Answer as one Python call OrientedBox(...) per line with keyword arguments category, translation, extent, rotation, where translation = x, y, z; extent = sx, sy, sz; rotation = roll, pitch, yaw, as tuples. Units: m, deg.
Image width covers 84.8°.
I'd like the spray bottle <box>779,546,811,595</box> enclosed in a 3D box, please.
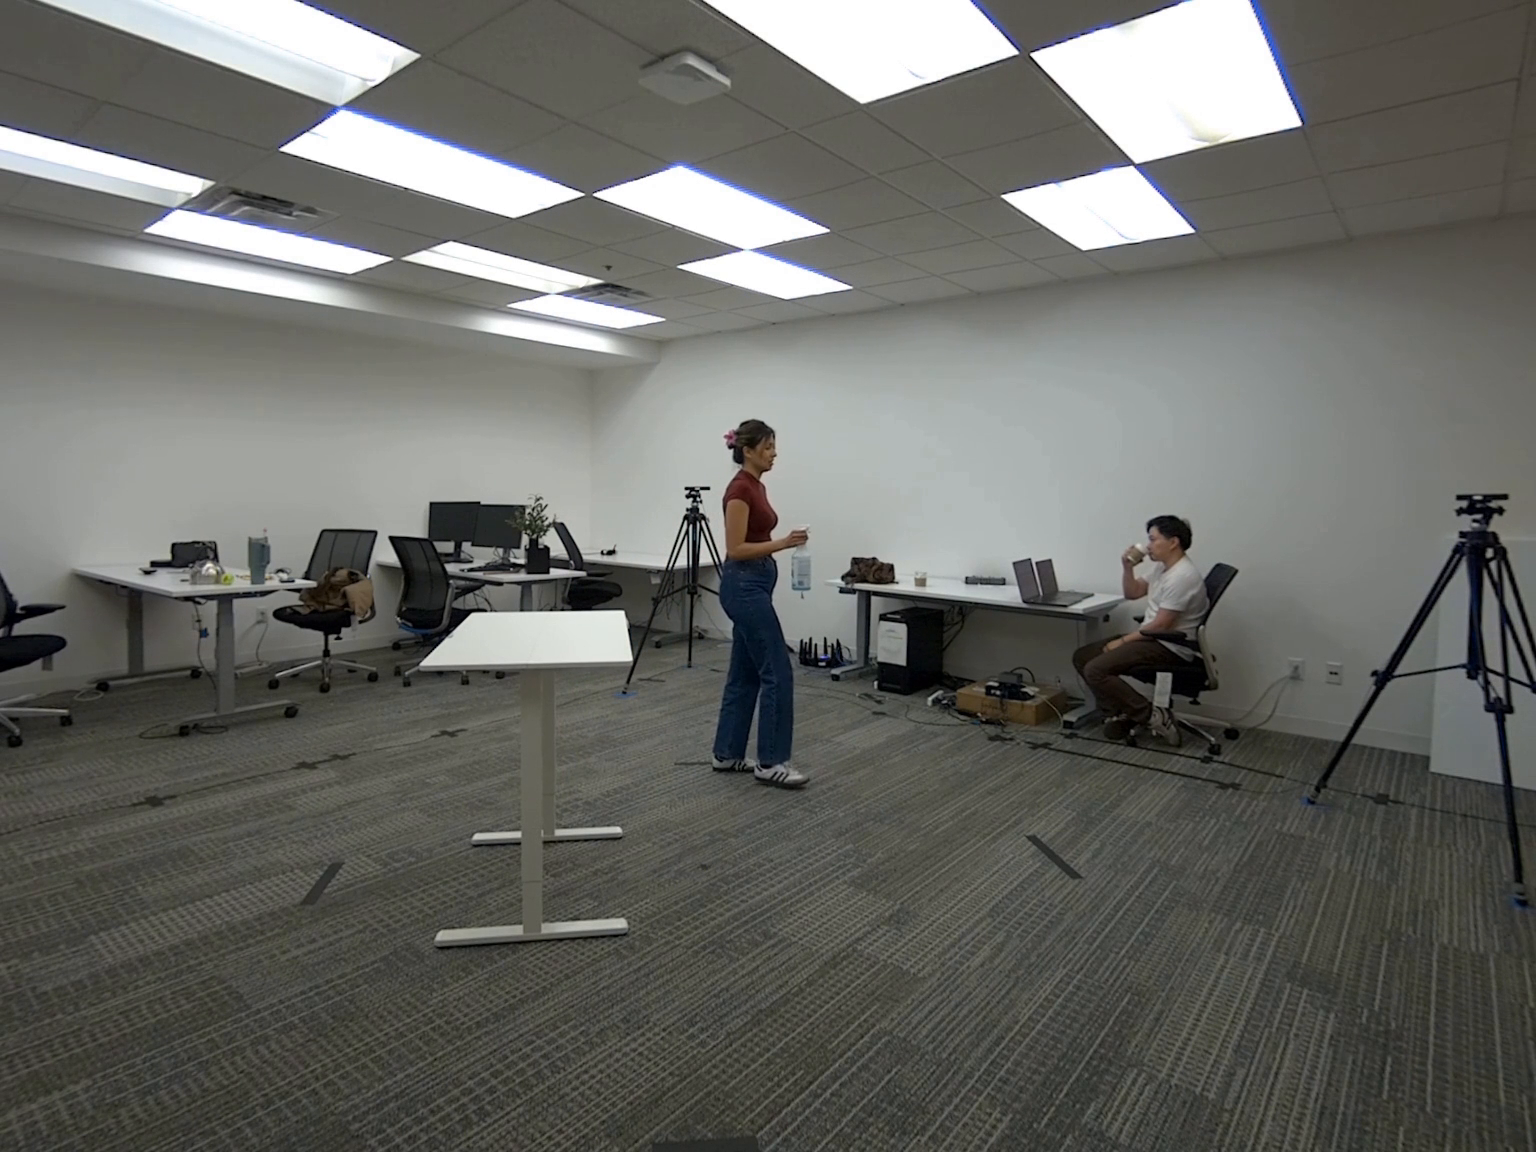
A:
OrientedBox(category="spray bottle", translation=(0.152, -0.086, 3.870), extent=(0.085, 0.296, 0.092), rotation=(1, 3, -21))
